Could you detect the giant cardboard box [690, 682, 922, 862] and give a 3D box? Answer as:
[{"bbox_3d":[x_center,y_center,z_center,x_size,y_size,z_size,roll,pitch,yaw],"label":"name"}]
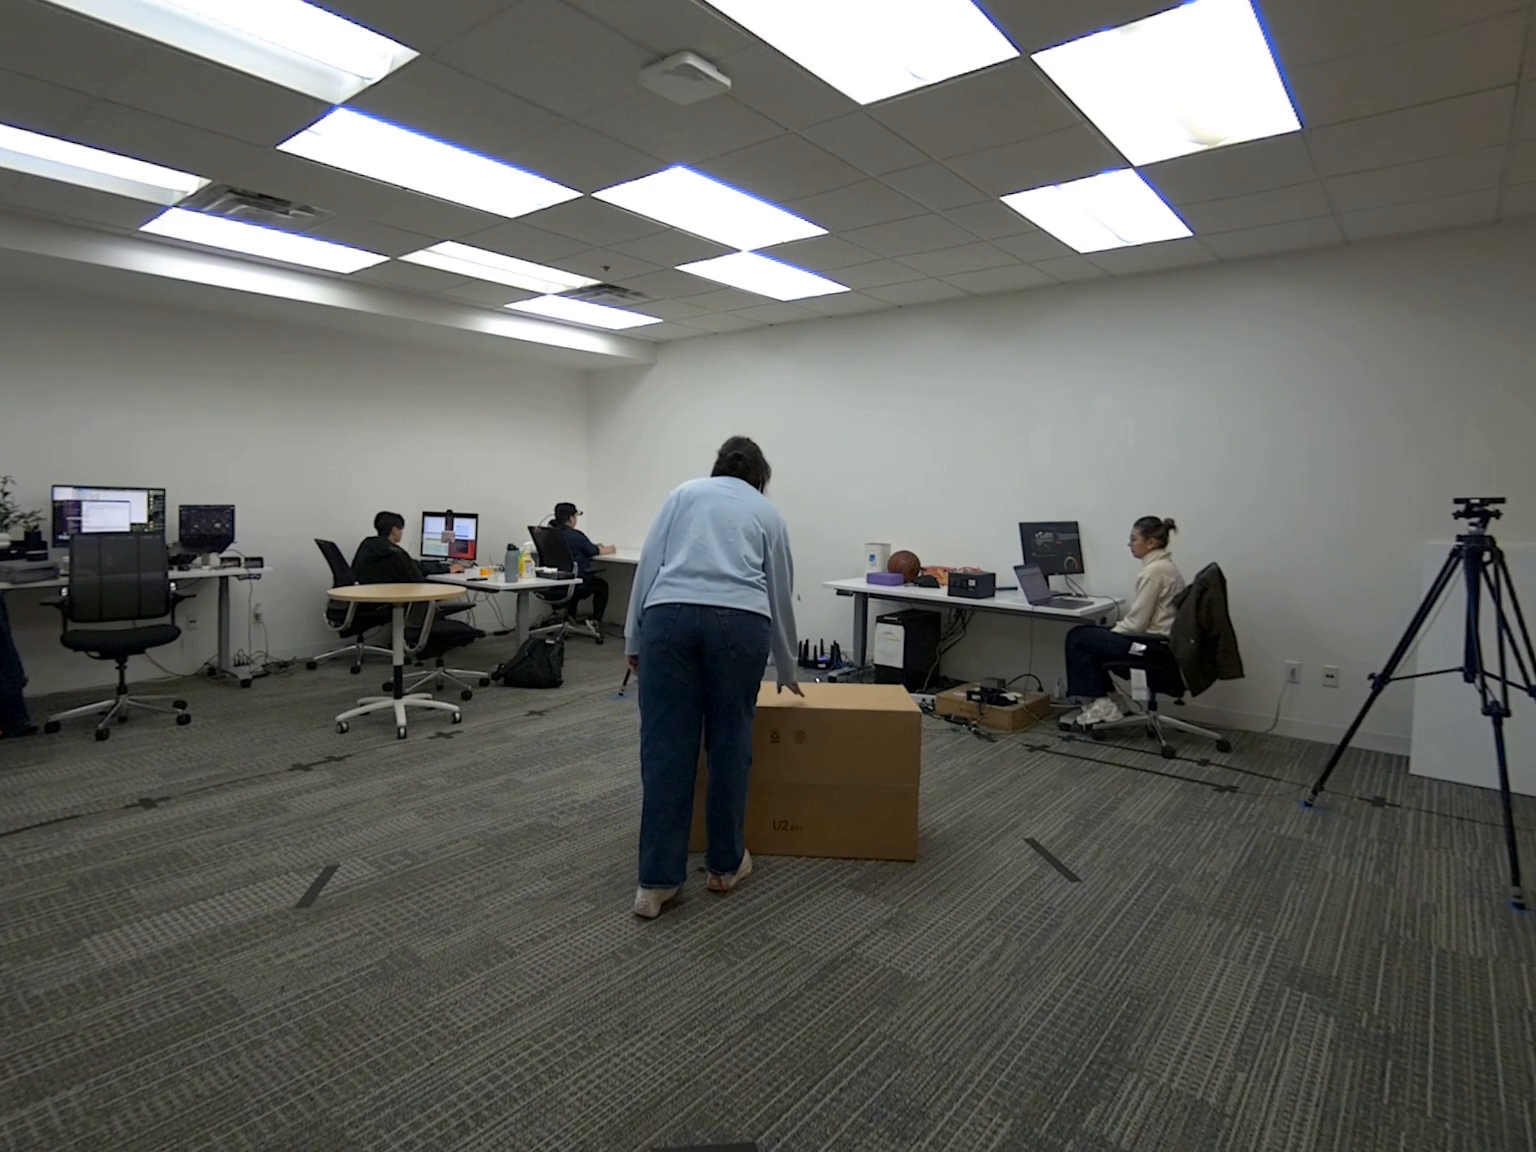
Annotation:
[{"bbox_3d":[0.058,0.751,3.434,1.030,0.576,0.426,1,3,3],"label":"giant cardboard box"}]
